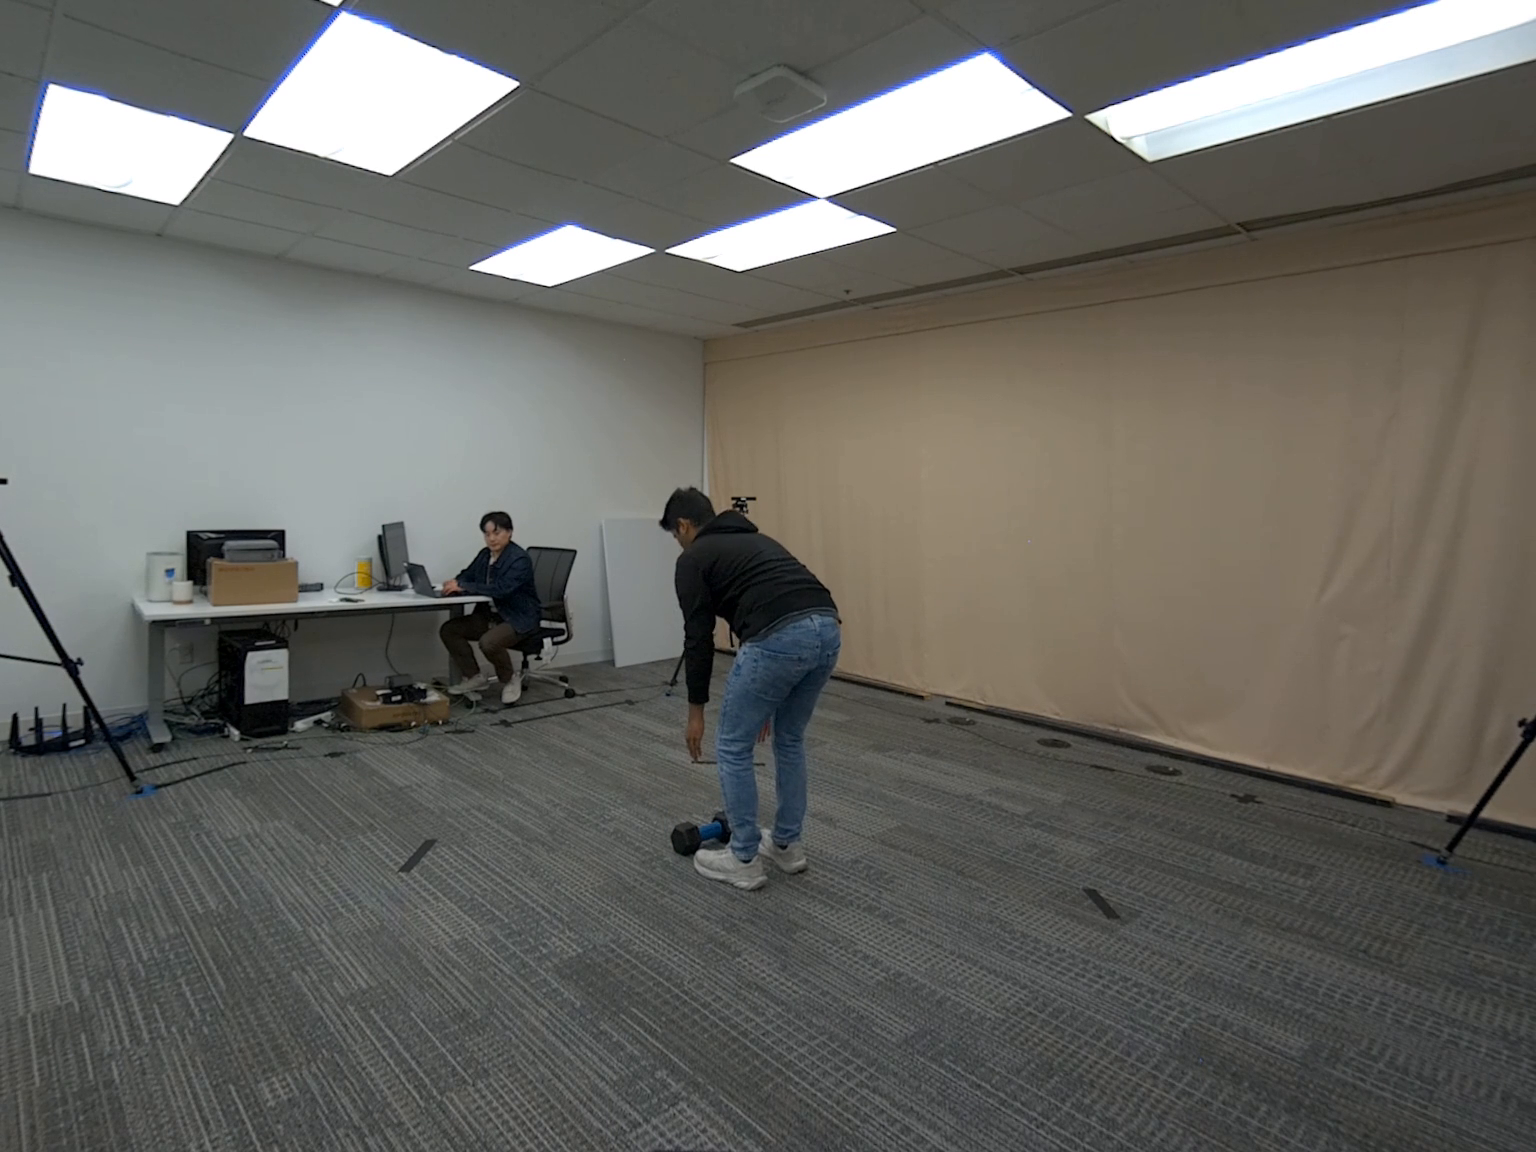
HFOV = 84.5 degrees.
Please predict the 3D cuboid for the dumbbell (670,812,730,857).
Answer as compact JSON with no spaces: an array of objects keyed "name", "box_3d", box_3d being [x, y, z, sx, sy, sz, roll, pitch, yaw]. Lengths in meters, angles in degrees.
[{"name":"dumbbell","box_3d":[-0.253,1.026,3.369,0.287,0.125,0.109,-4,-22,-43]}]
